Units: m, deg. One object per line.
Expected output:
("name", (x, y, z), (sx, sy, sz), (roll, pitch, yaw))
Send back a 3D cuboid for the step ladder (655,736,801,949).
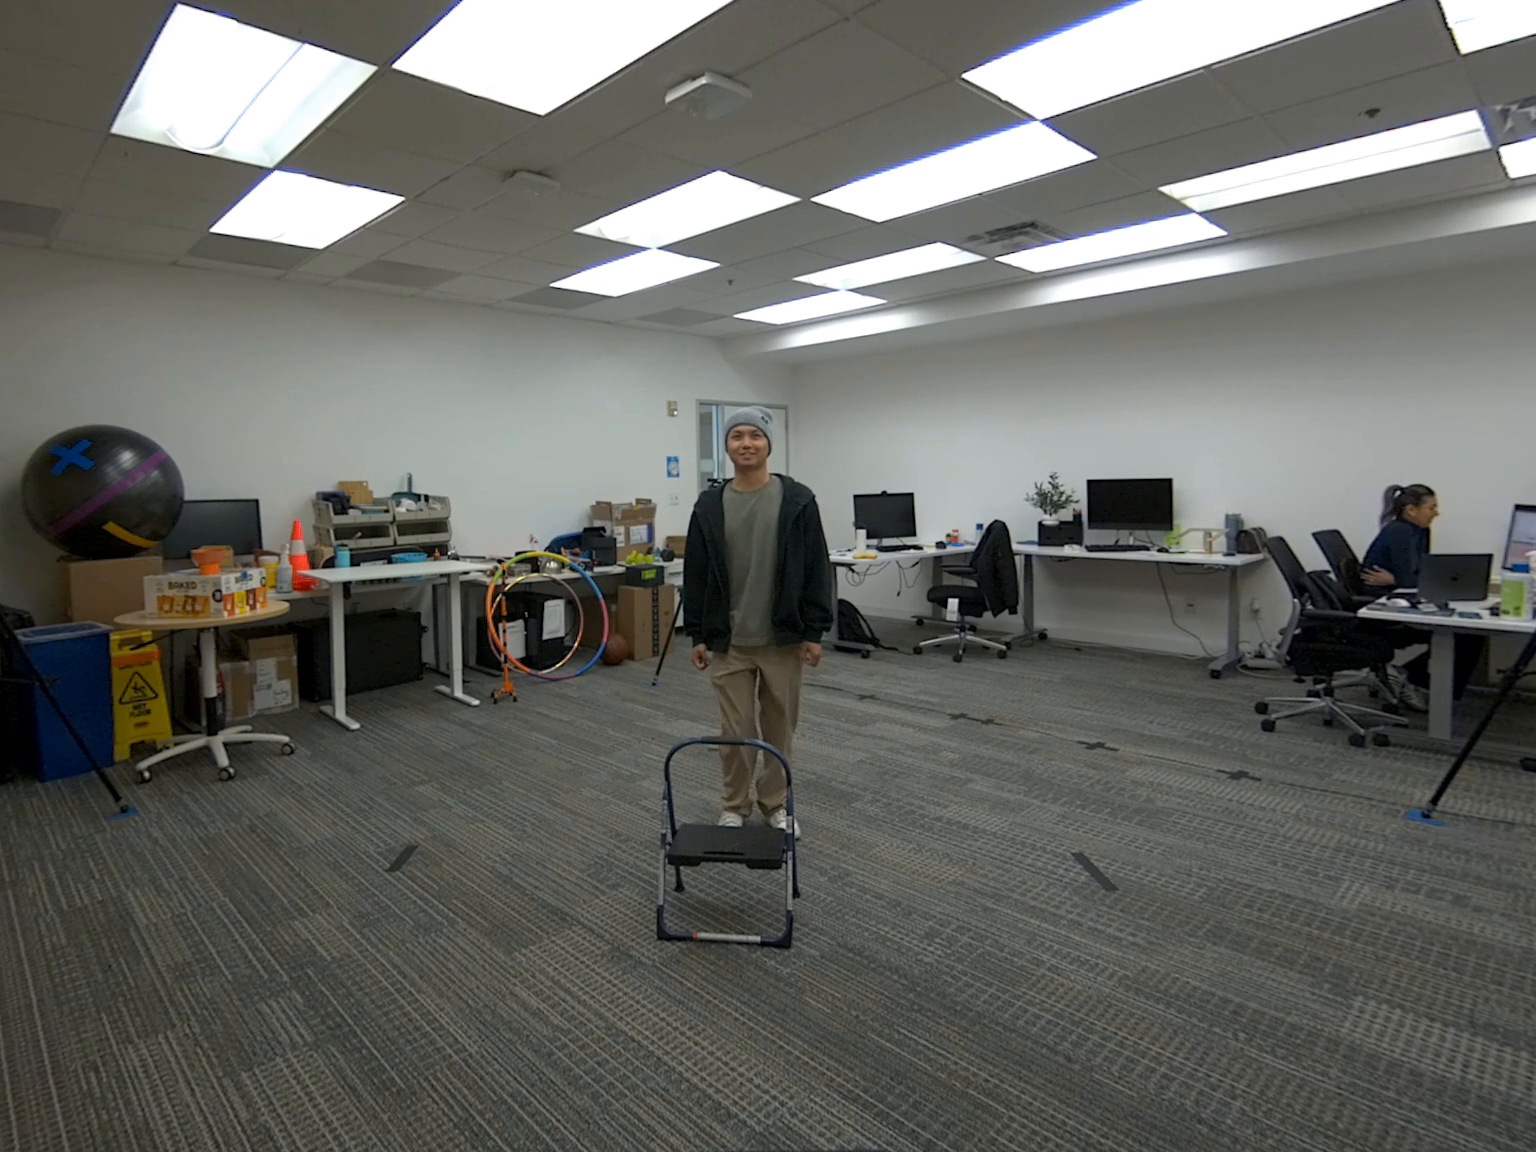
("step ladder", (-0.126, 0.792, 2.715), (0.434, 0.604, 0.348), (-1, 4, 7))
